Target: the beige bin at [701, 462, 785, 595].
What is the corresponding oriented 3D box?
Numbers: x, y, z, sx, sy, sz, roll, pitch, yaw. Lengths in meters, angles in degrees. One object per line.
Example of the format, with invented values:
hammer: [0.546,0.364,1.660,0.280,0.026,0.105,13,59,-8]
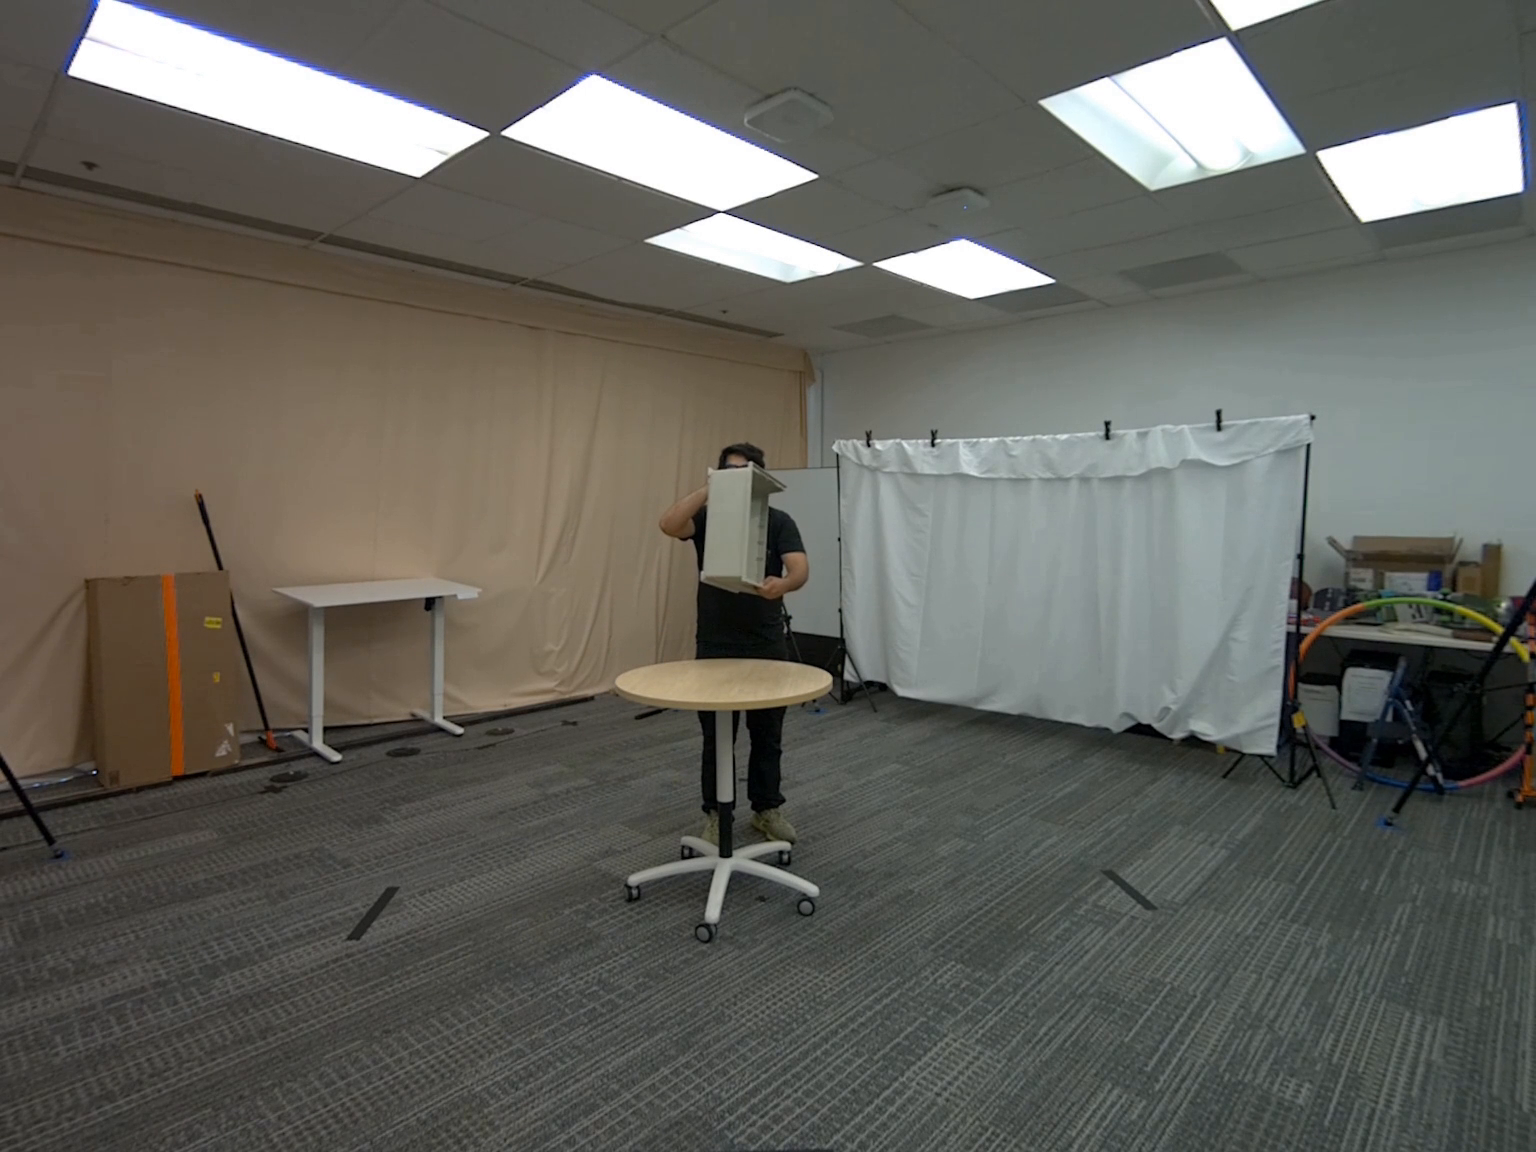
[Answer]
beige bin: [-0.067,-0.161,3.100,0.194,0.425,0.366,-2,-10,26]
